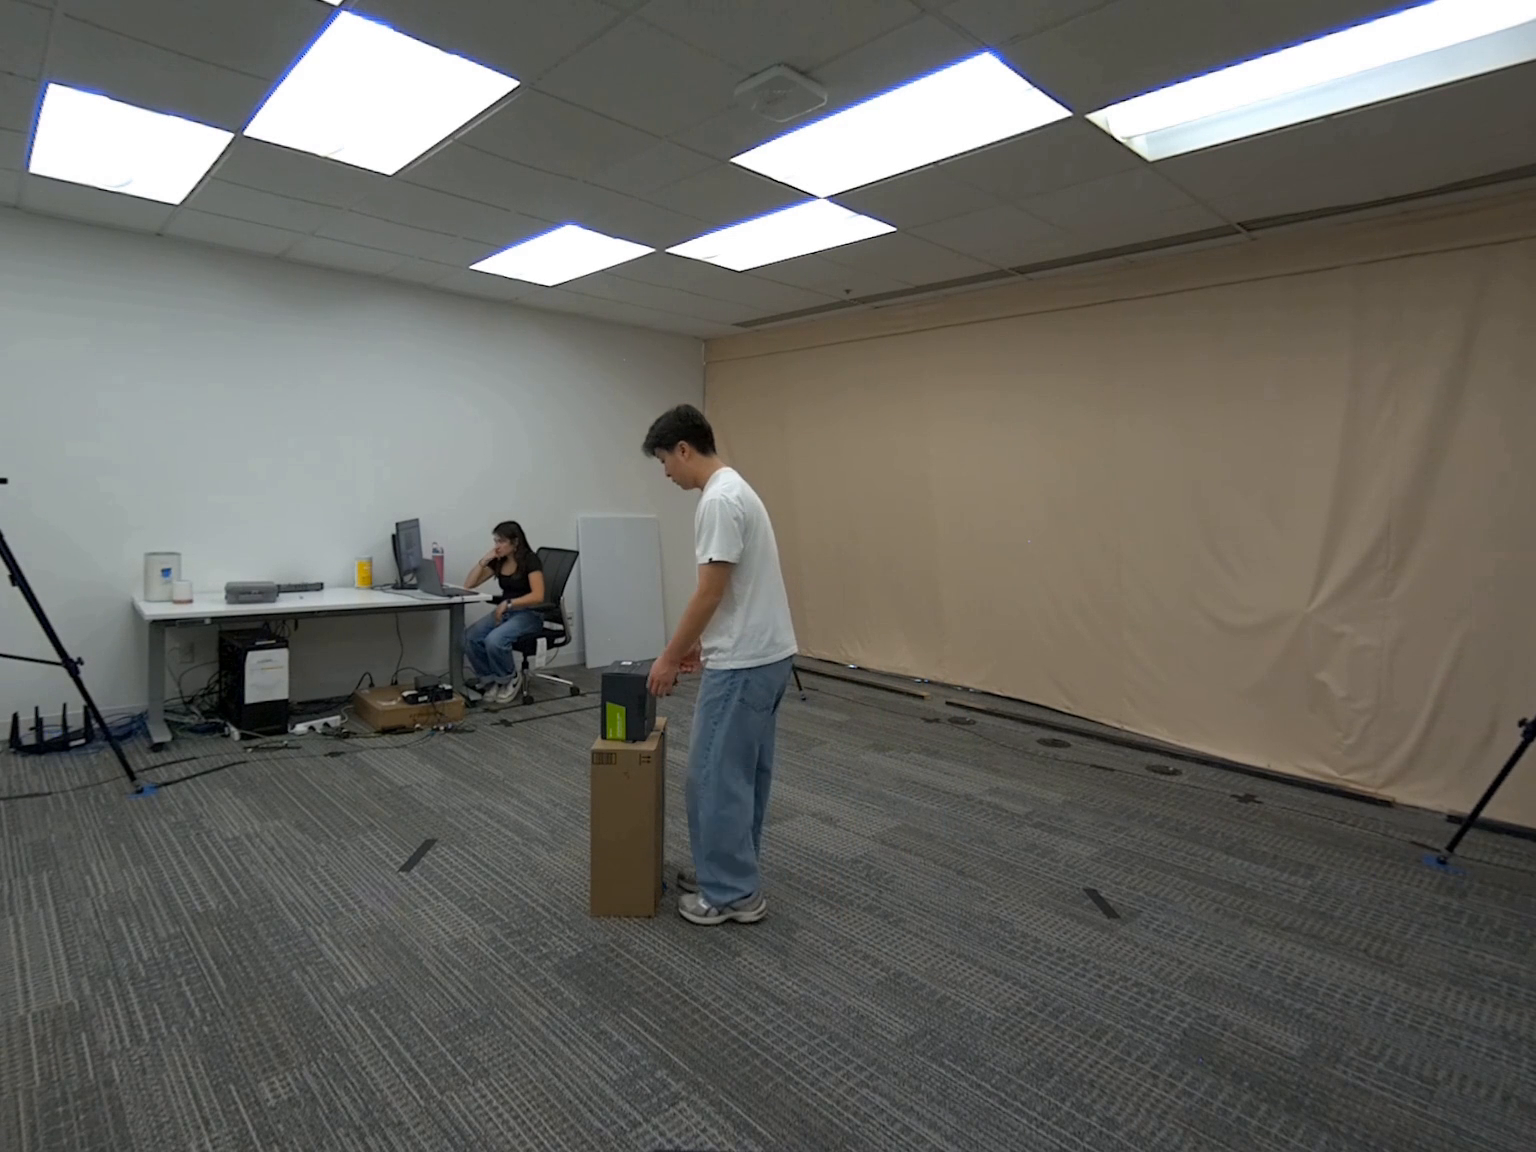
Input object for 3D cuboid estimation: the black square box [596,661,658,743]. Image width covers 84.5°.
[{"bbox_3d":[-0.486,0.431,2.940,0.157,0.227,0.216,2,2,7],"label":"black square box"}]
